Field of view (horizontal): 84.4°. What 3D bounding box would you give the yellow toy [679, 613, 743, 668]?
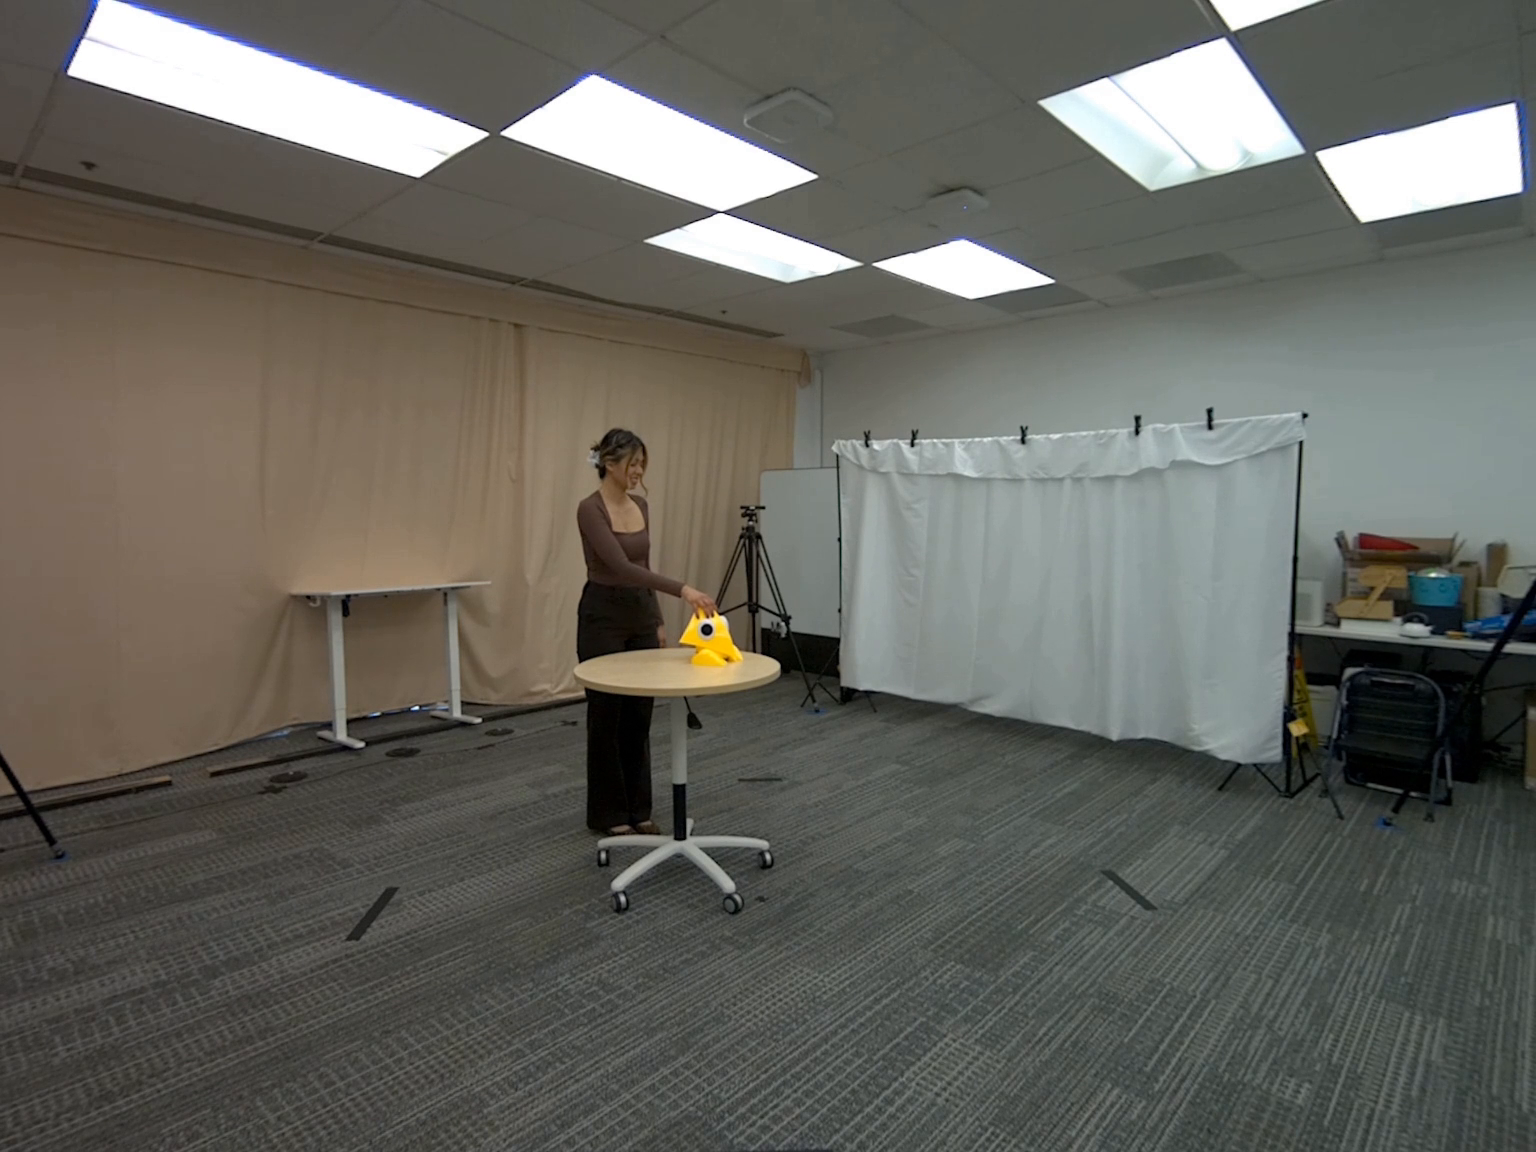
[{"bbox_3d":[-0.208,0.213,3.234,0.199,0.230,0.199,2,4,32],"label":"yellow toy"}]
